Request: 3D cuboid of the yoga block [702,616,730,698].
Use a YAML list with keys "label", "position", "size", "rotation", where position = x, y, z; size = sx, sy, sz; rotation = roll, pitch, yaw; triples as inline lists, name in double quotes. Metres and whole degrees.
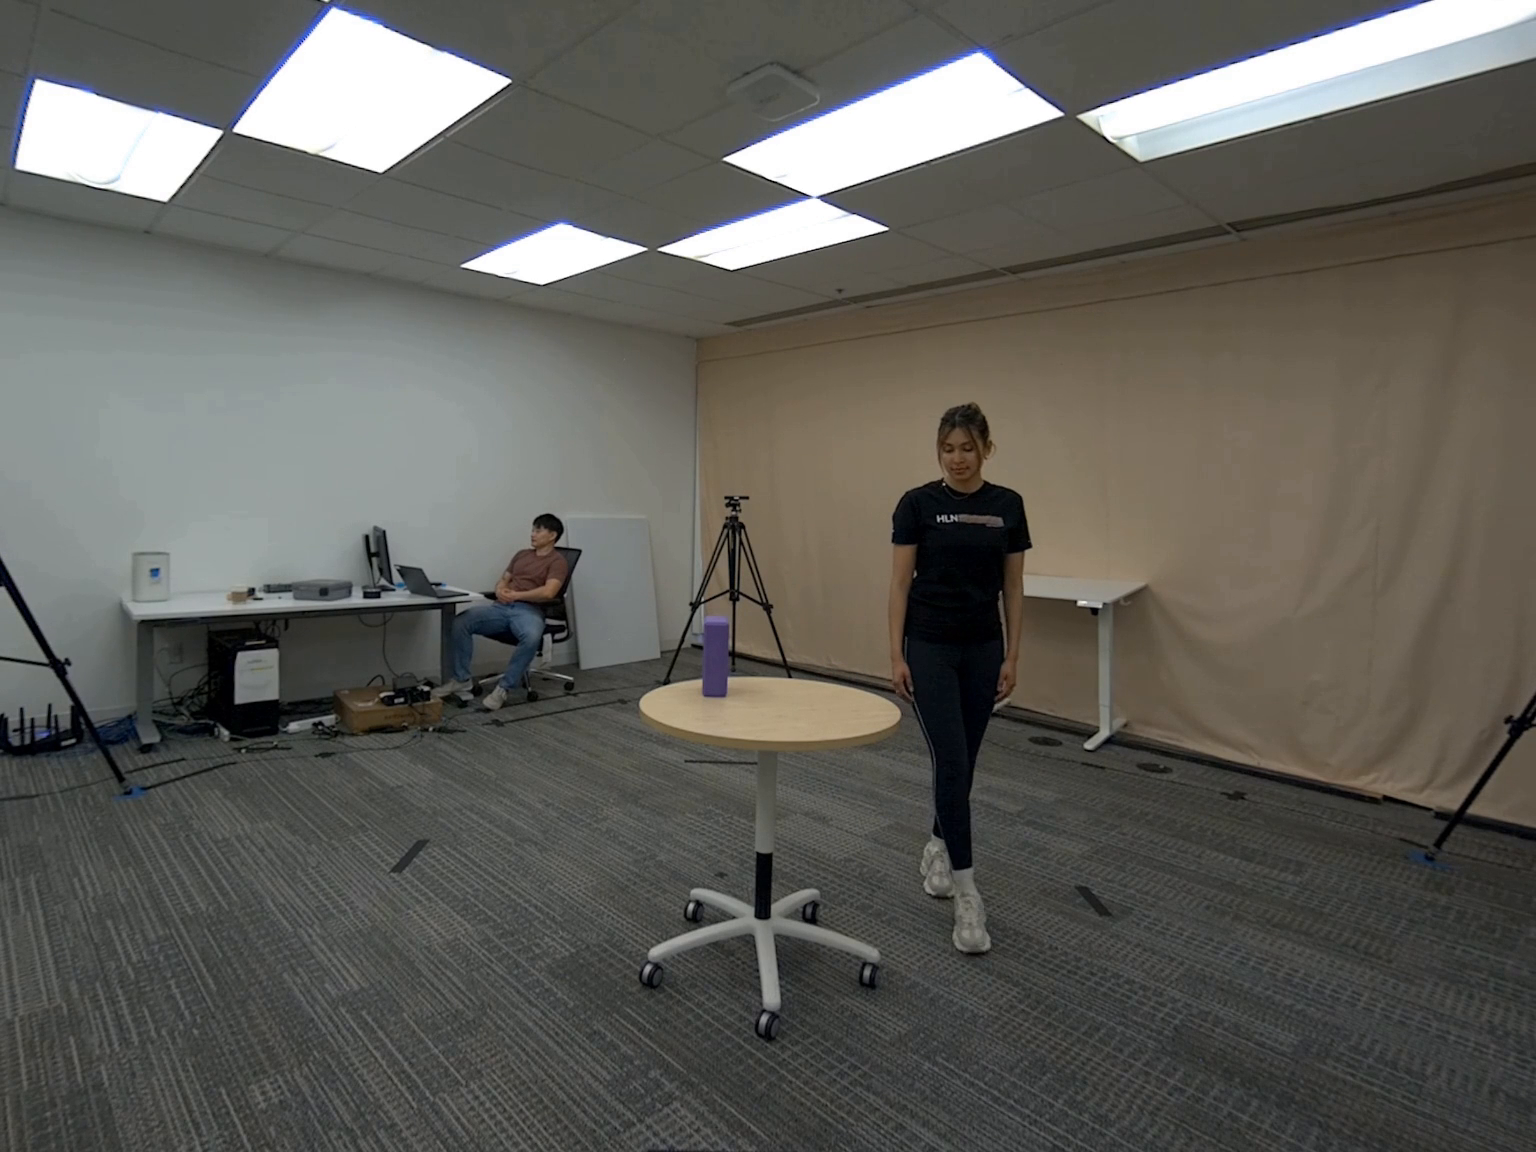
- label: "yoga block"
  position: [-0.167, 0.251, 2.618]
  size: [0.076, 0.230, 0.148]
  rotation: [3, -2, 1]
